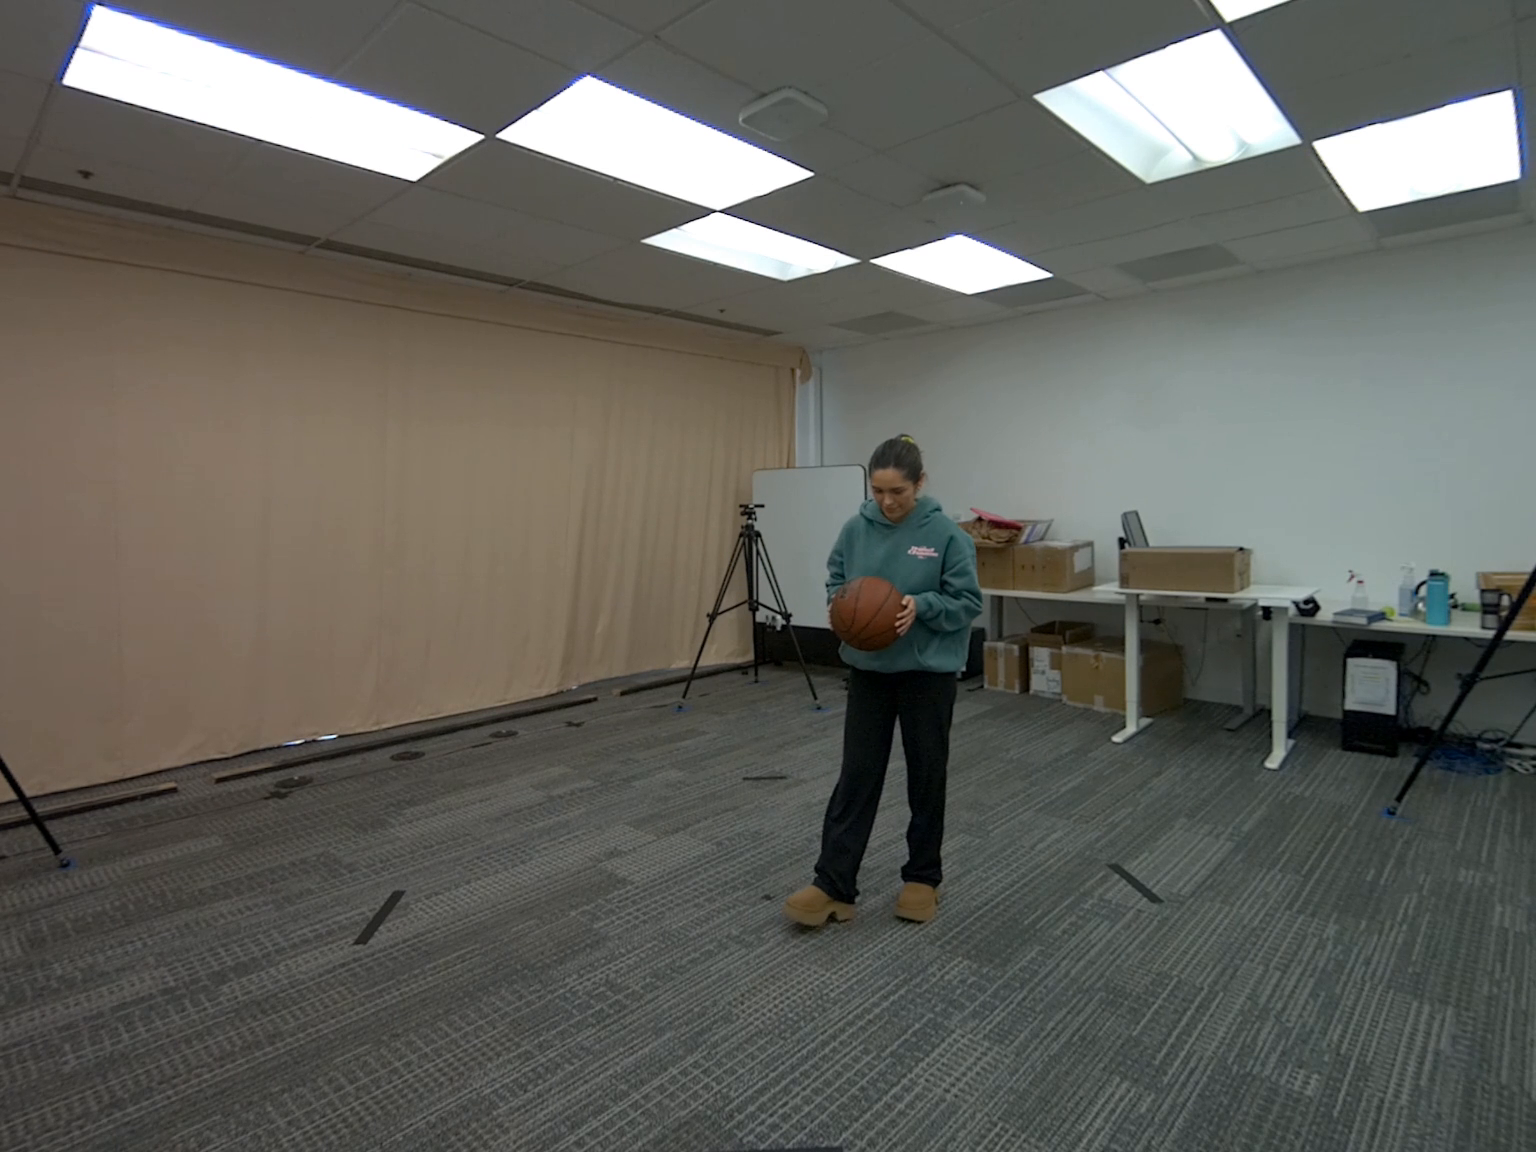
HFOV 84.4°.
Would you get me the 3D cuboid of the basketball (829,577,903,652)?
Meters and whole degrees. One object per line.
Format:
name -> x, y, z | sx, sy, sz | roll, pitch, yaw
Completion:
basketball -> 0.311, 0.119, 2.653 | 0.236, 0.235, 0.237 | -1, 4, -2
